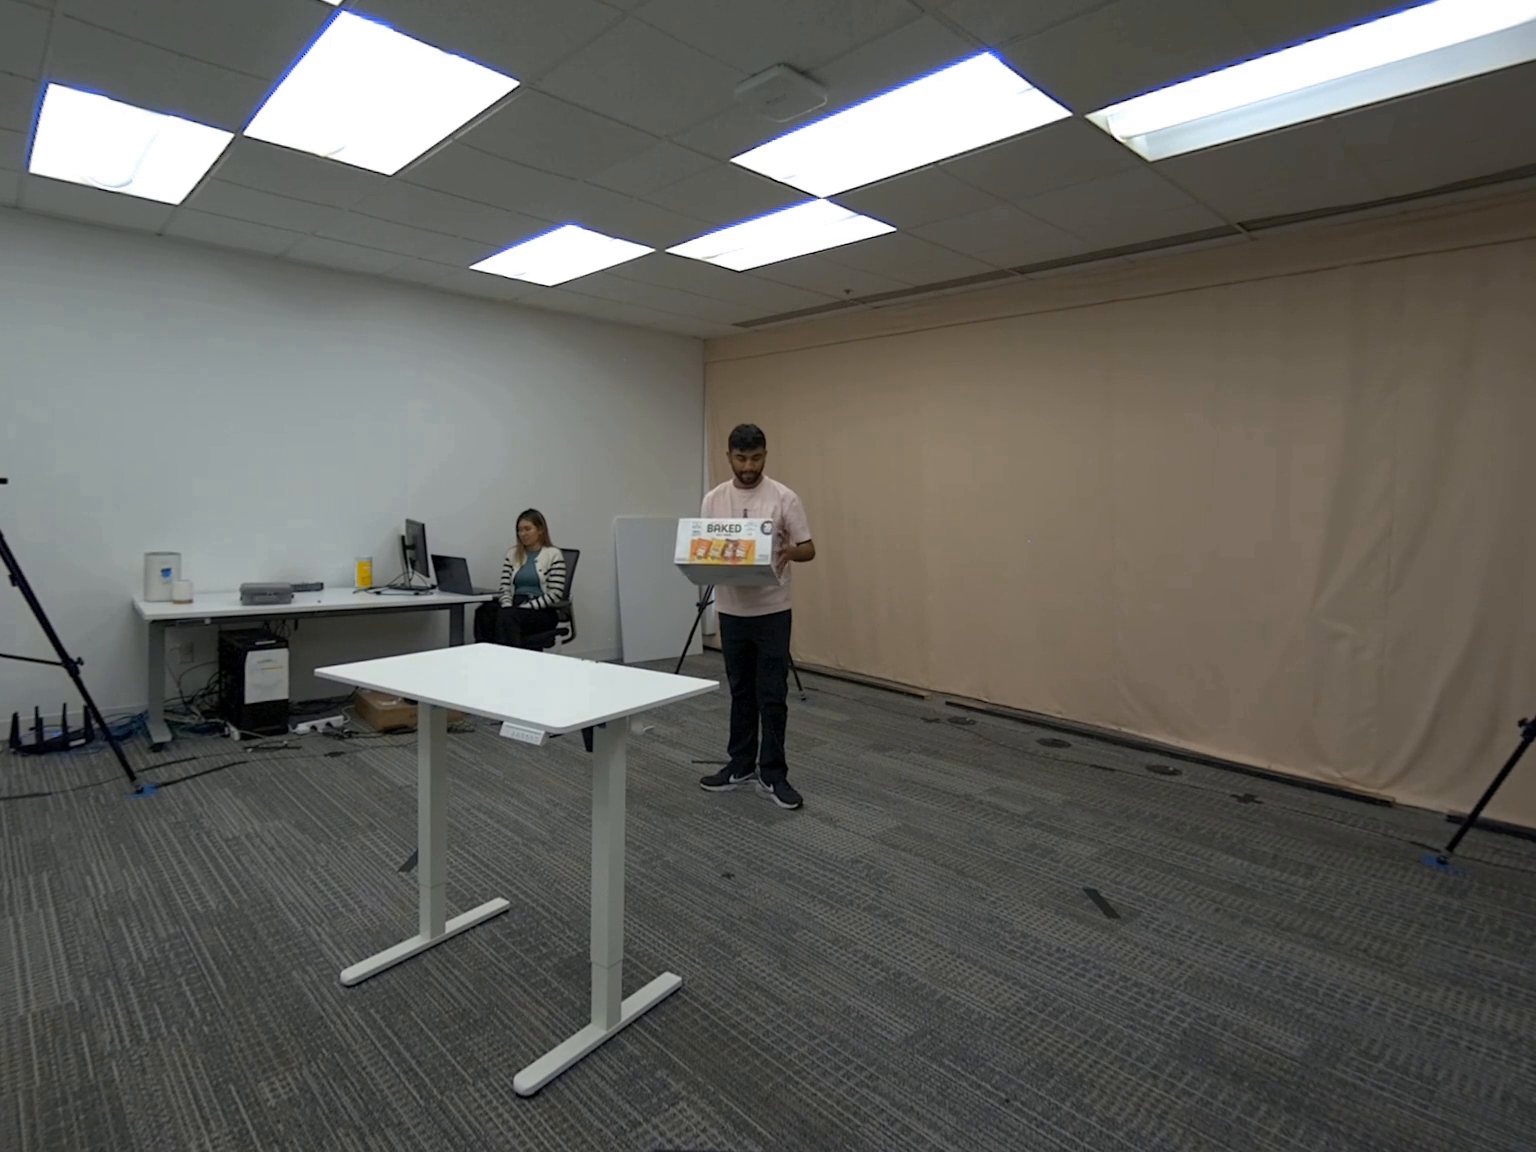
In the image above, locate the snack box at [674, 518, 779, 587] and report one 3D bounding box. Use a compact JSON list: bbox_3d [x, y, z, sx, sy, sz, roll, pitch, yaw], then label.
[{"bbox_3d":[-0.170,-0.101,3.646,0.409,0.208,0.333,1,-16,11],"label":"snack box"}]
